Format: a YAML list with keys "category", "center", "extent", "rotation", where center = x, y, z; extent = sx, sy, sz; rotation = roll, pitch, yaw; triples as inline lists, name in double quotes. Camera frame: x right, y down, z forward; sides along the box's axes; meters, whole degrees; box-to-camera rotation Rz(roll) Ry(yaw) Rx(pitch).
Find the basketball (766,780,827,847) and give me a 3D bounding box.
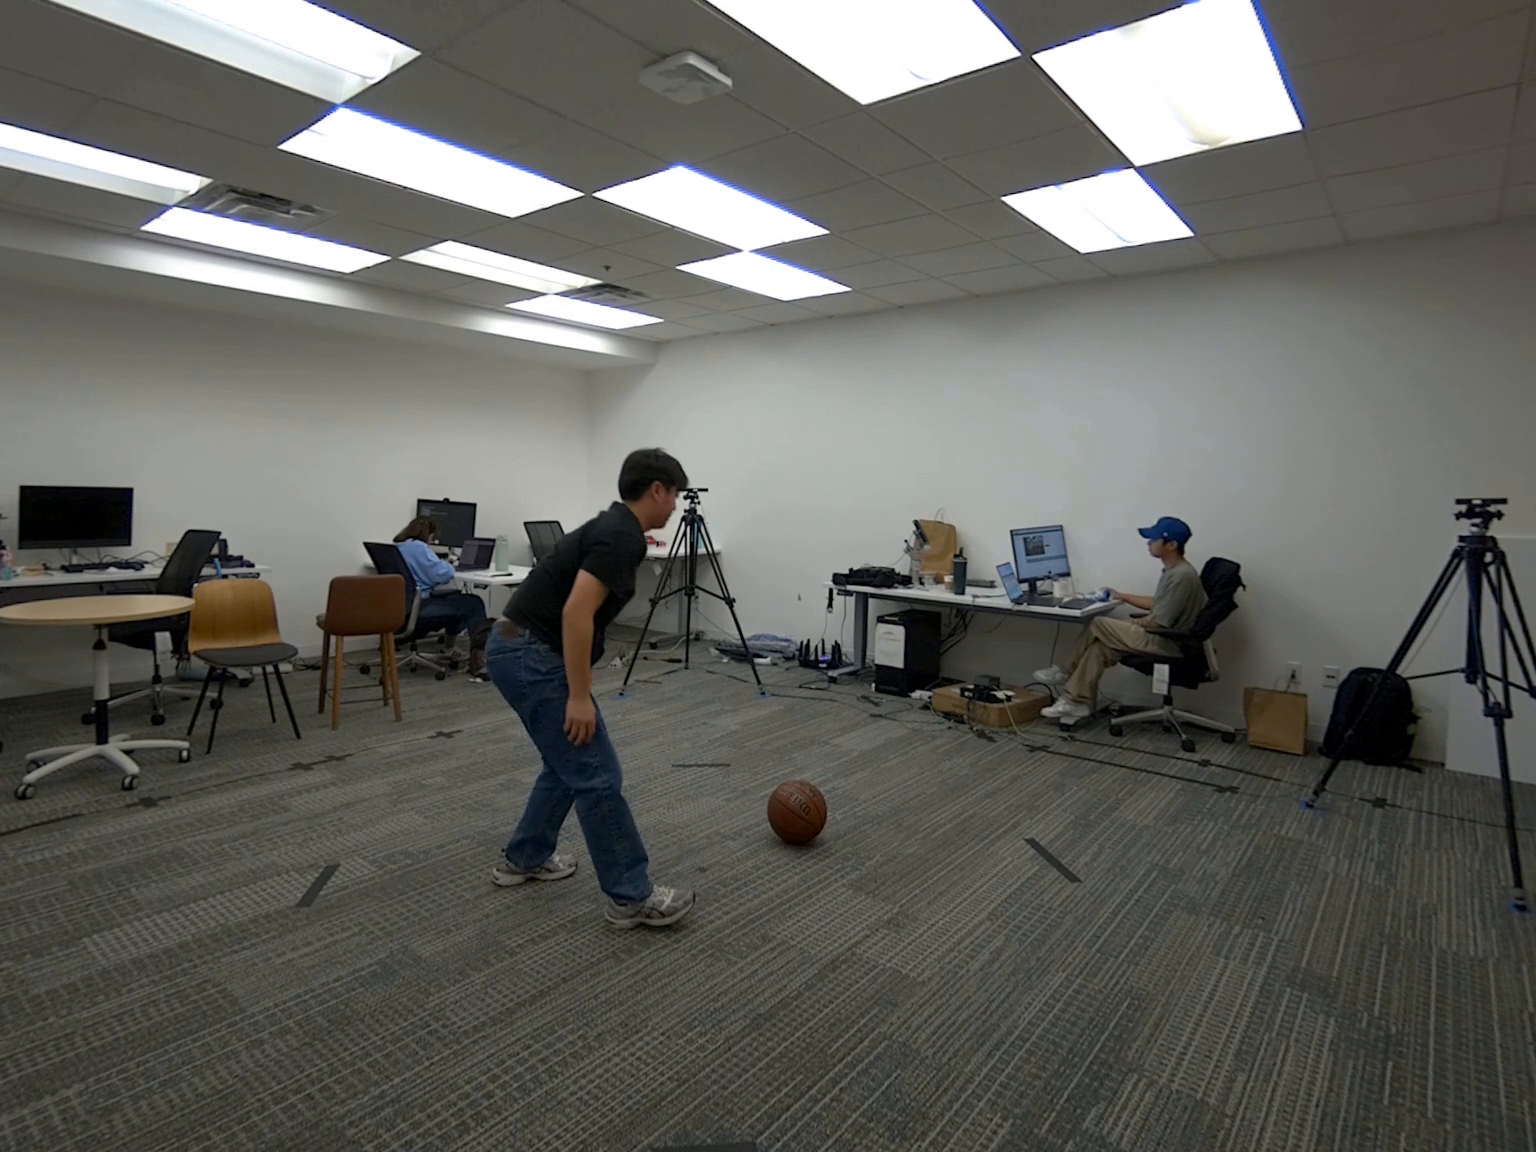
- category: "basketball"
  center: [0.109, 0.926, 3.375]
  extent: [0.235, 0.235, 0.237]
  rotation: [1, 4, -2]
